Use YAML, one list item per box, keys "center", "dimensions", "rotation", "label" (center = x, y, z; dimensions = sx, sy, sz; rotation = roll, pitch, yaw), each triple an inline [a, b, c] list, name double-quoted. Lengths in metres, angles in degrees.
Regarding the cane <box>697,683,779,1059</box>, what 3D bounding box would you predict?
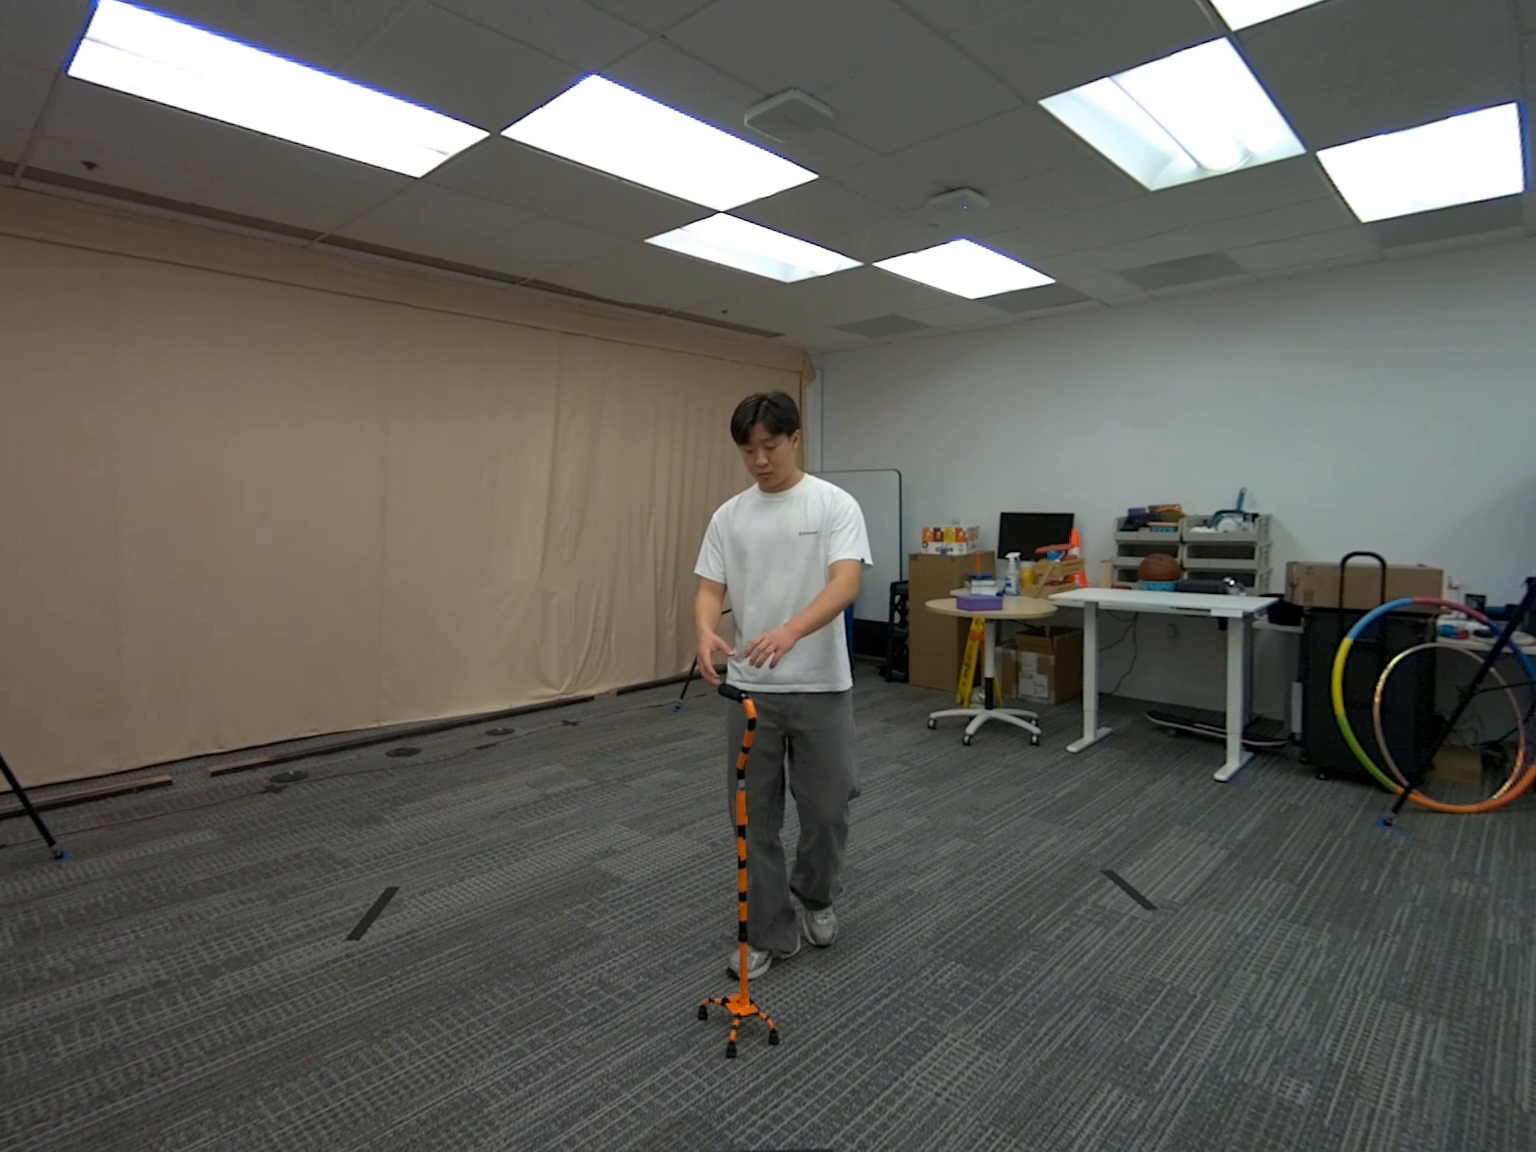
- center: [-0.087, 0.750, 2.215]
  dimensions: [0.148, 0.906, 0.212]
  rotation: [-2, 4, -29]
  label: "cane"
